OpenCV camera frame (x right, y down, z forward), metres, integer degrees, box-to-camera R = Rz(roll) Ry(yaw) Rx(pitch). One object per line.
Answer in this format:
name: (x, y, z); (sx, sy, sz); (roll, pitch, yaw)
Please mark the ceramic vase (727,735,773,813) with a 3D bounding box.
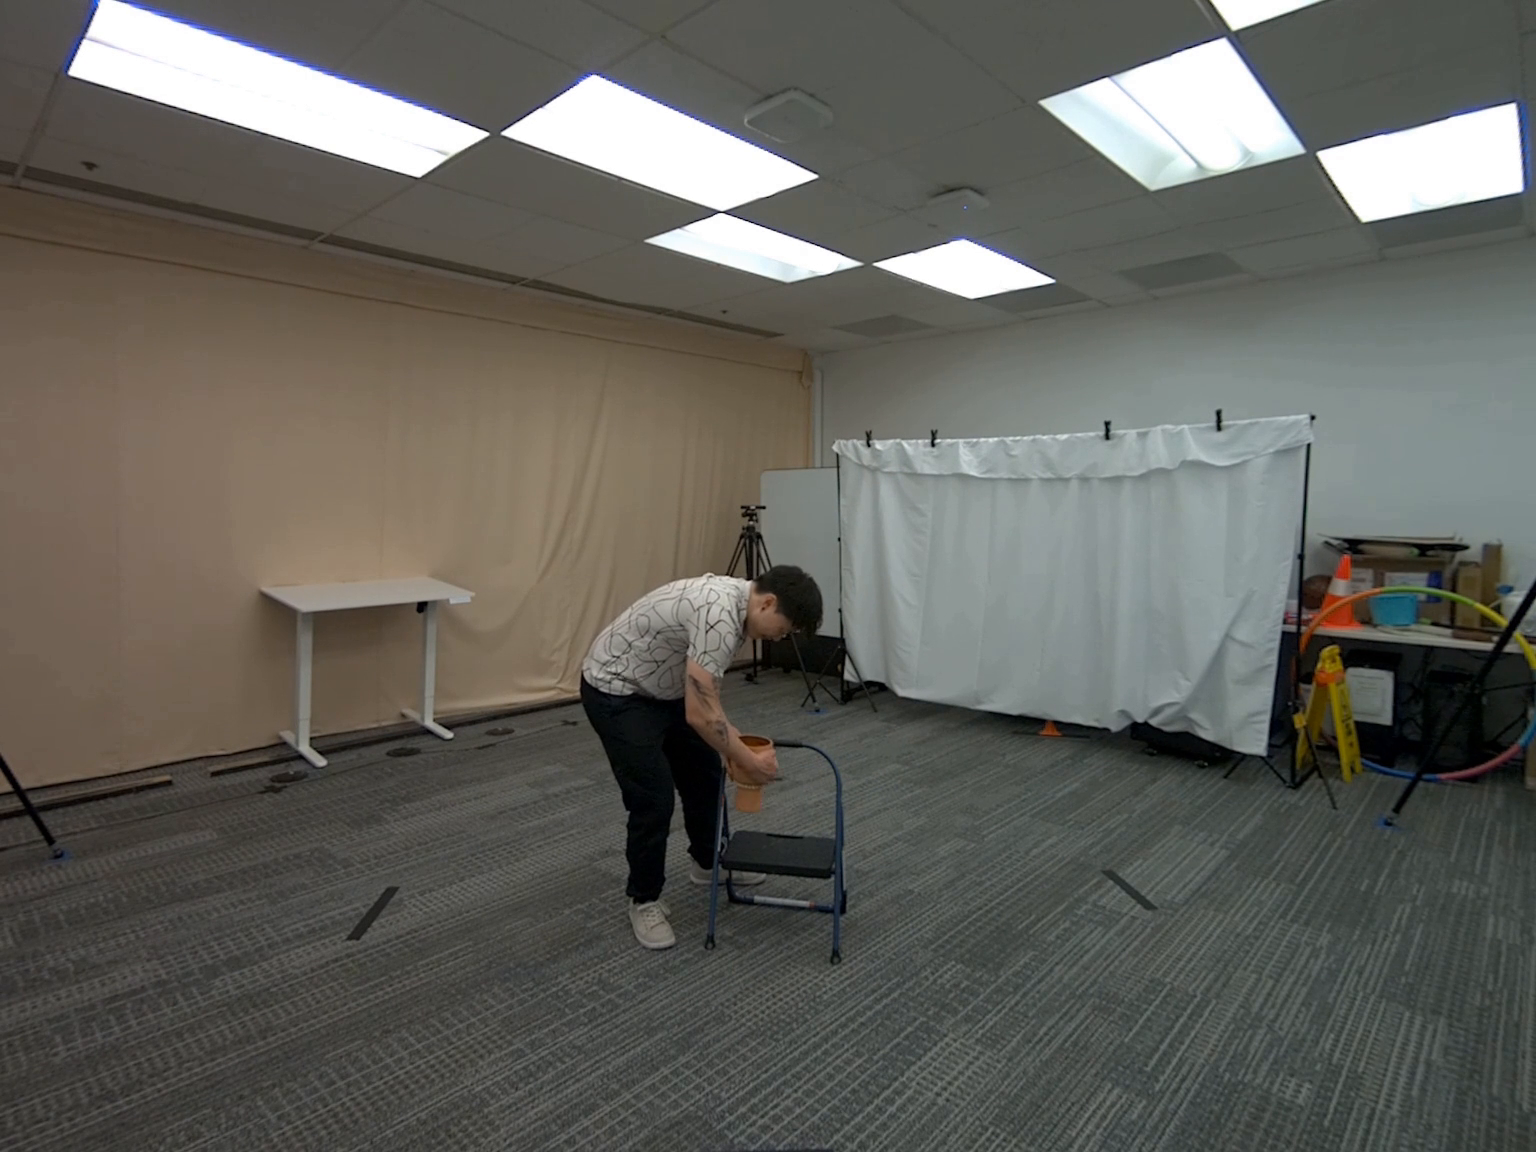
ceramic vase: (-0.056, 0.631, 2.718); (0.155, 0.219, 0.138); (-1, 7, -26)
